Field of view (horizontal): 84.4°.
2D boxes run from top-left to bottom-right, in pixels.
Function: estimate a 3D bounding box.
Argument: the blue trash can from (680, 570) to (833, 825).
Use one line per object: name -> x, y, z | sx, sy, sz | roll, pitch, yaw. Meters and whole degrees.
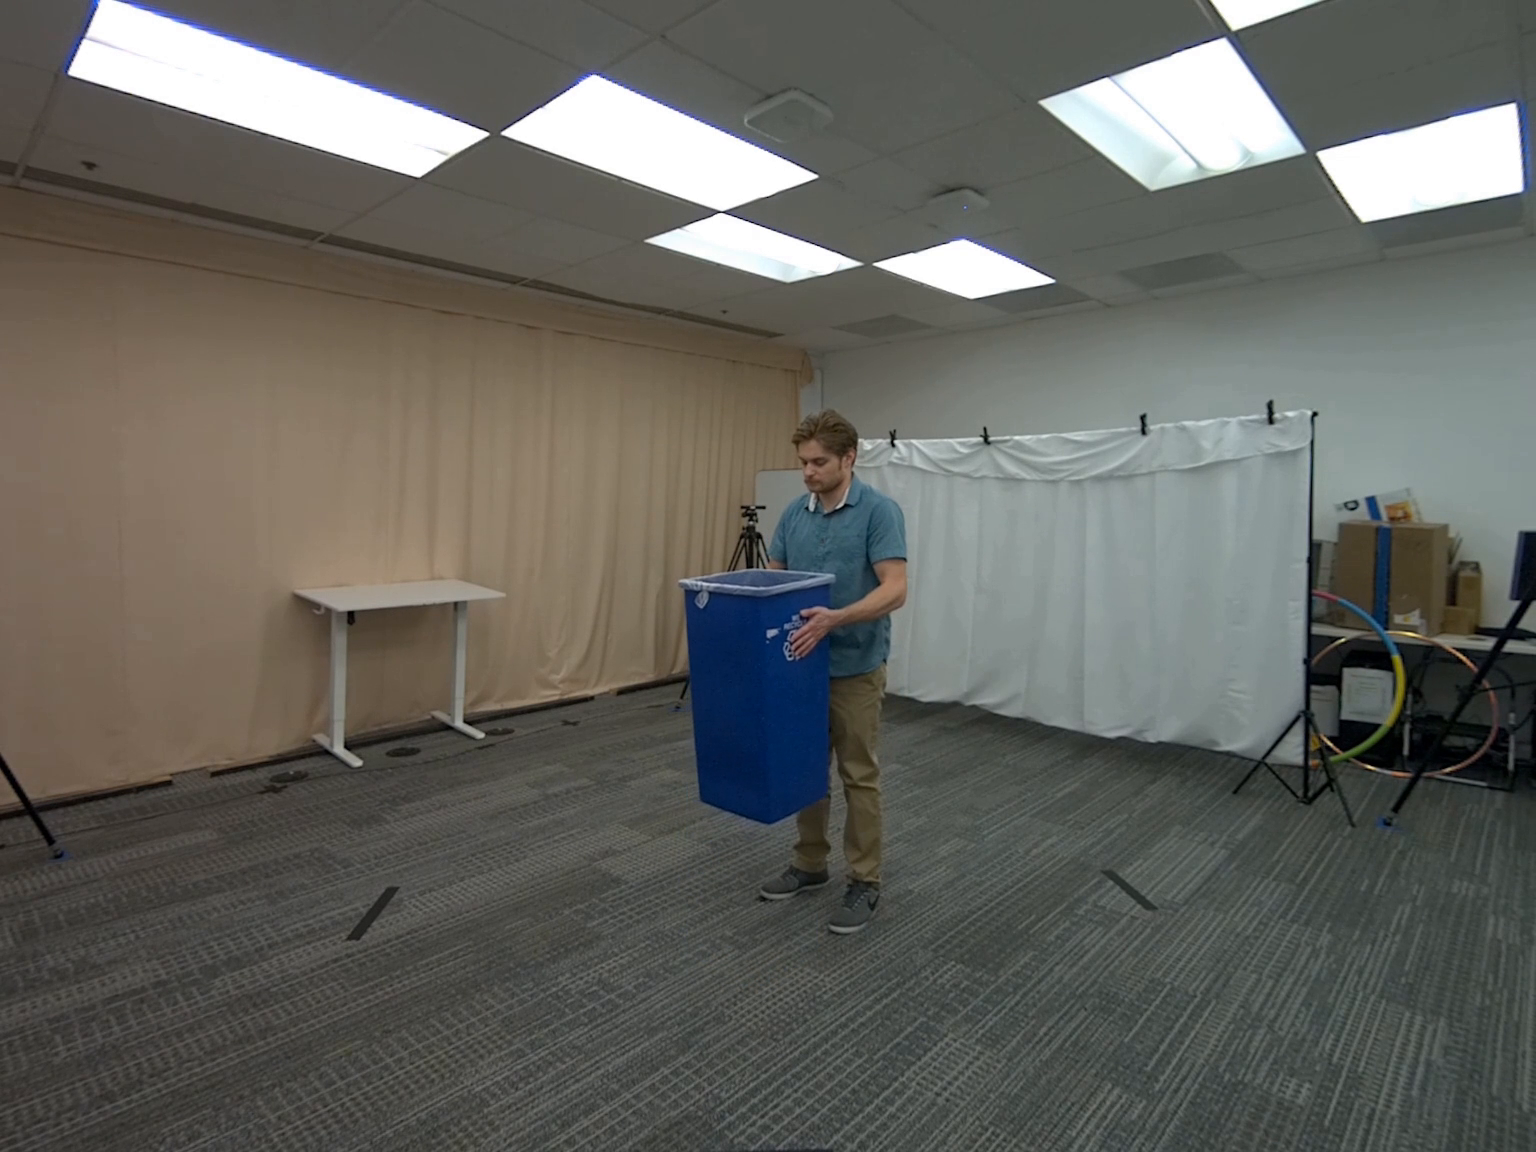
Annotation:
blue trash can -> -0.034, 0.367, 2.654 | 0.387, 0.710, 0.367 | 5, 10, 44
